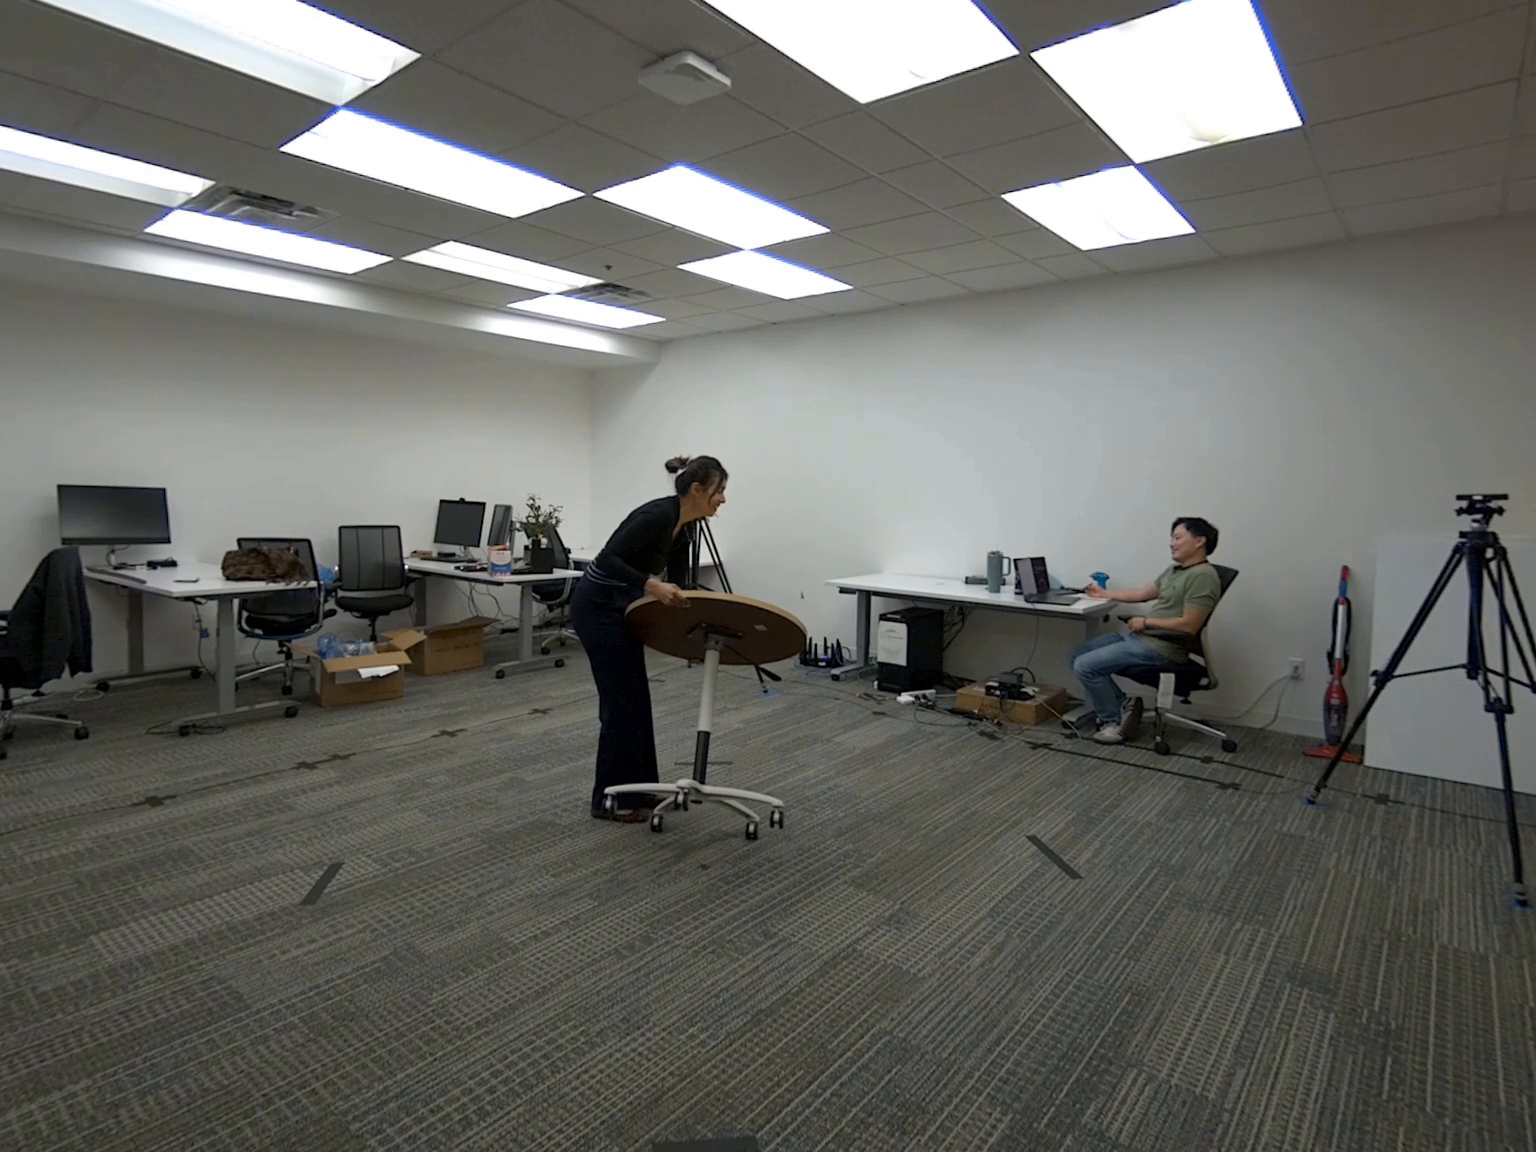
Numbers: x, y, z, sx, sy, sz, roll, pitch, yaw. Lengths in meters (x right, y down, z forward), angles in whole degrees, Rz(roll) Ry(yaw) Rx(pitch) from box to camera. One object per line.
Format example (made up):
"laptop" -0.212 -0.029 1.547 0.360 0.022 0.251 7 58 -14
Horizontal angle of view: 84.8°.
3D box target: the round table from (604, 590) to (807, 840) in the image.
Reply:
"round table" -0.263 0.573 3.354 0.765 0.810 0.747 5 -25 1
